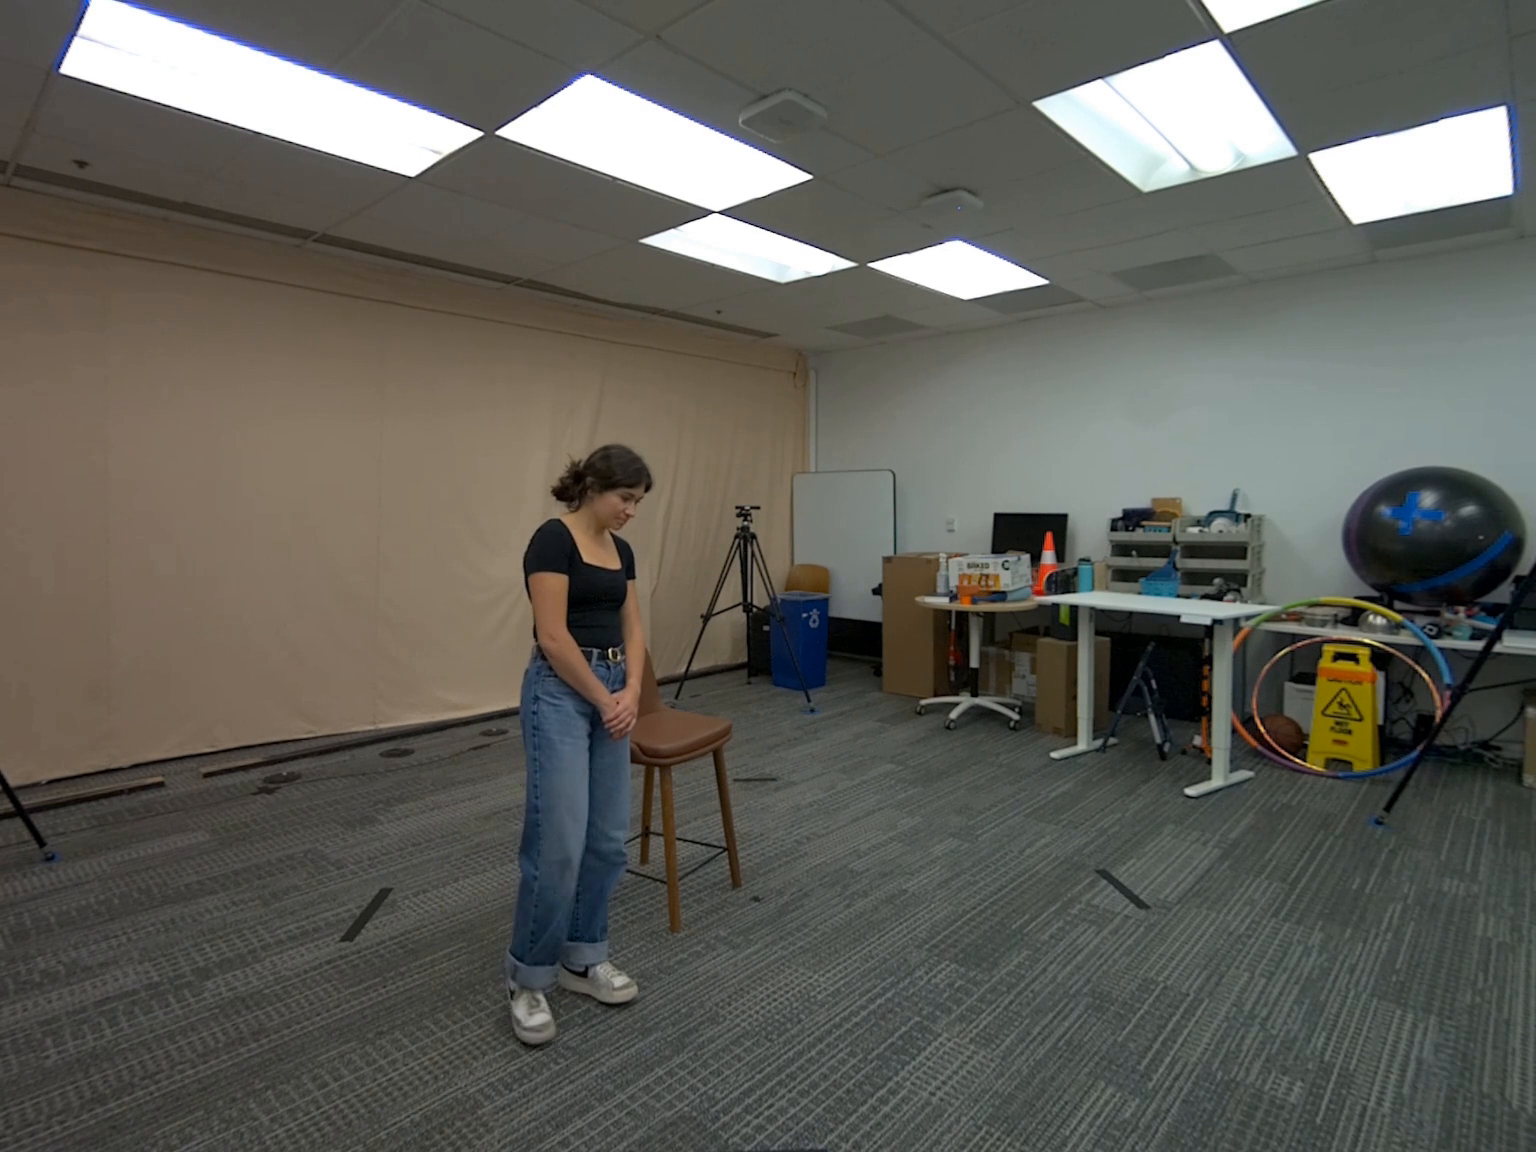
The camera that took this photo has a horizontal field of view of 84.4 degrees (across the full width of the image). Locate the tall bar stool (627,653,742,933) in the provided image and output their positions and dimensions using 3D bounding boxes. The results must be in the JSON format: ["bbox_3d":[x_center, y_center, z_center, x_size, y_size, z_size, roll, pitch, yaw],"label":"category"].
[{"bbox_3d":[-0.397,0.710,3.018,0.481,0.889,0.444,-1,2,33],"label":"tall bar stool"}]
